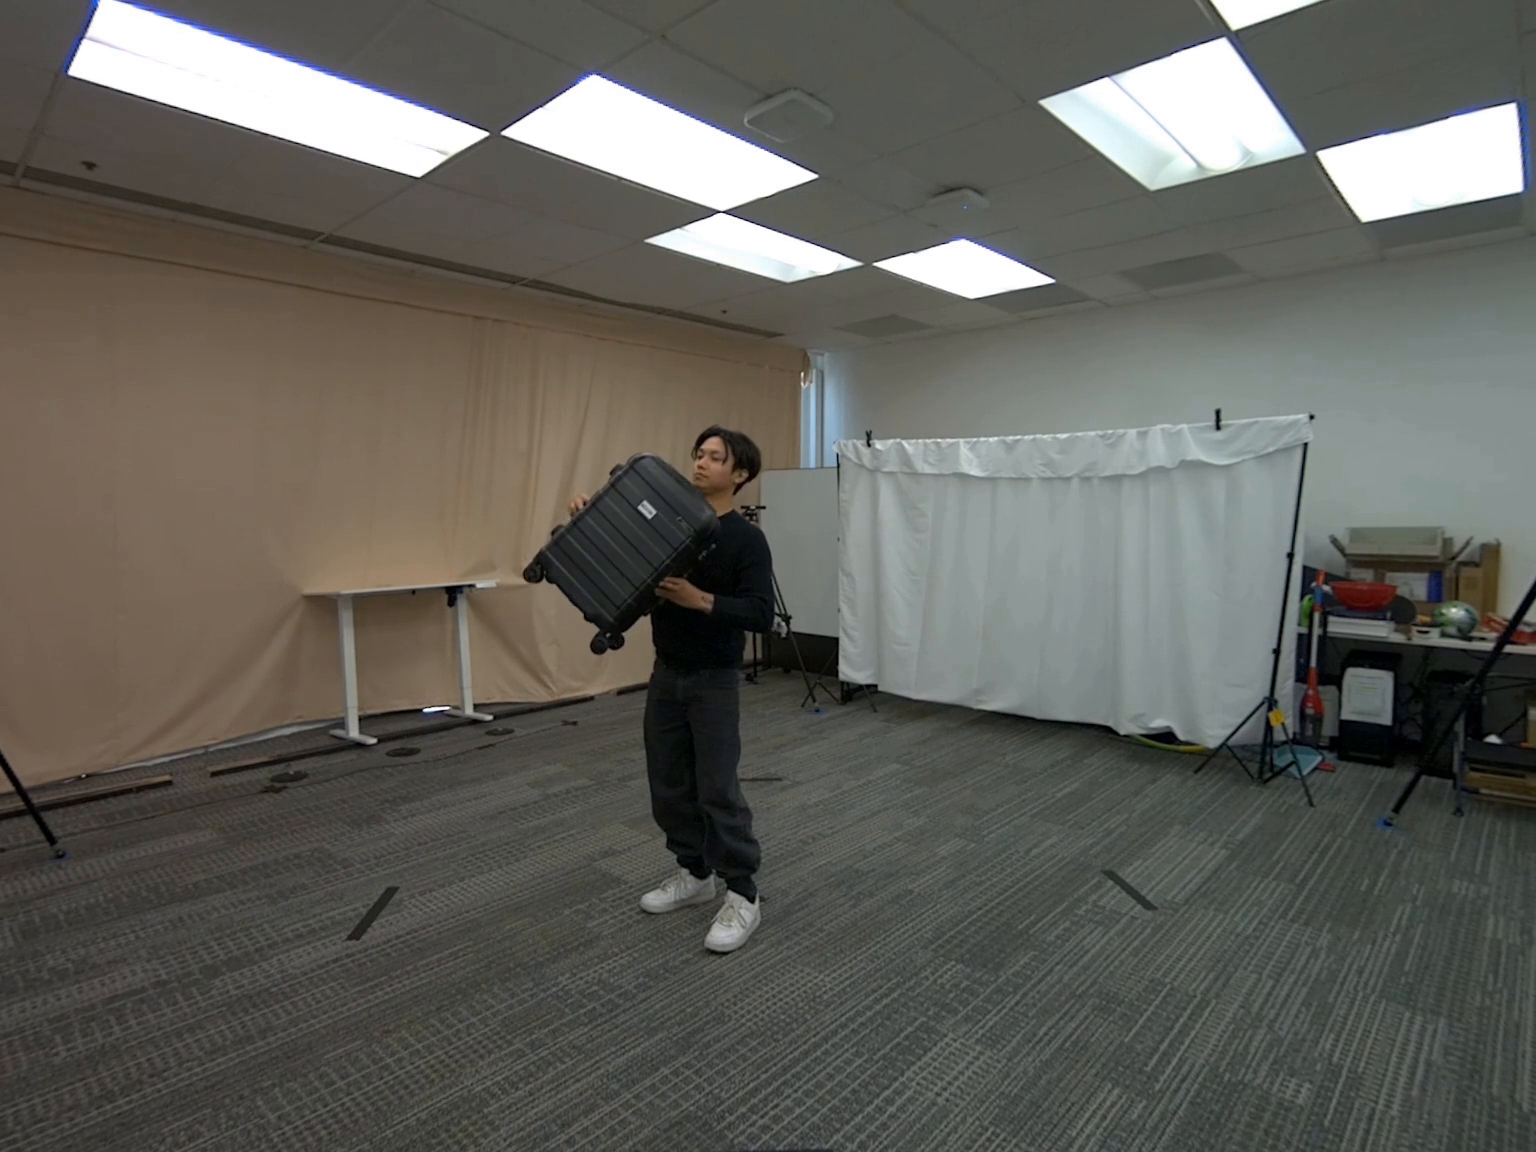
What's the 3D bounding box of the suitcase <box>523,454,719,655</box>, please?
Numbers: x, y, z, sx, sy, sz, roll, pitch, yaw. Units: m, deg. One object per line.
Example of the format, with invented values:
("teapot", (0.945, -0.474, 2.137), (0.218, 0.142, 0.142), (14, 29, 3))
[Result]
("suitcase", (-0.423, -0.091, 2.592), (0.549, 0.379, 0.246), (-44, -8, 2))
